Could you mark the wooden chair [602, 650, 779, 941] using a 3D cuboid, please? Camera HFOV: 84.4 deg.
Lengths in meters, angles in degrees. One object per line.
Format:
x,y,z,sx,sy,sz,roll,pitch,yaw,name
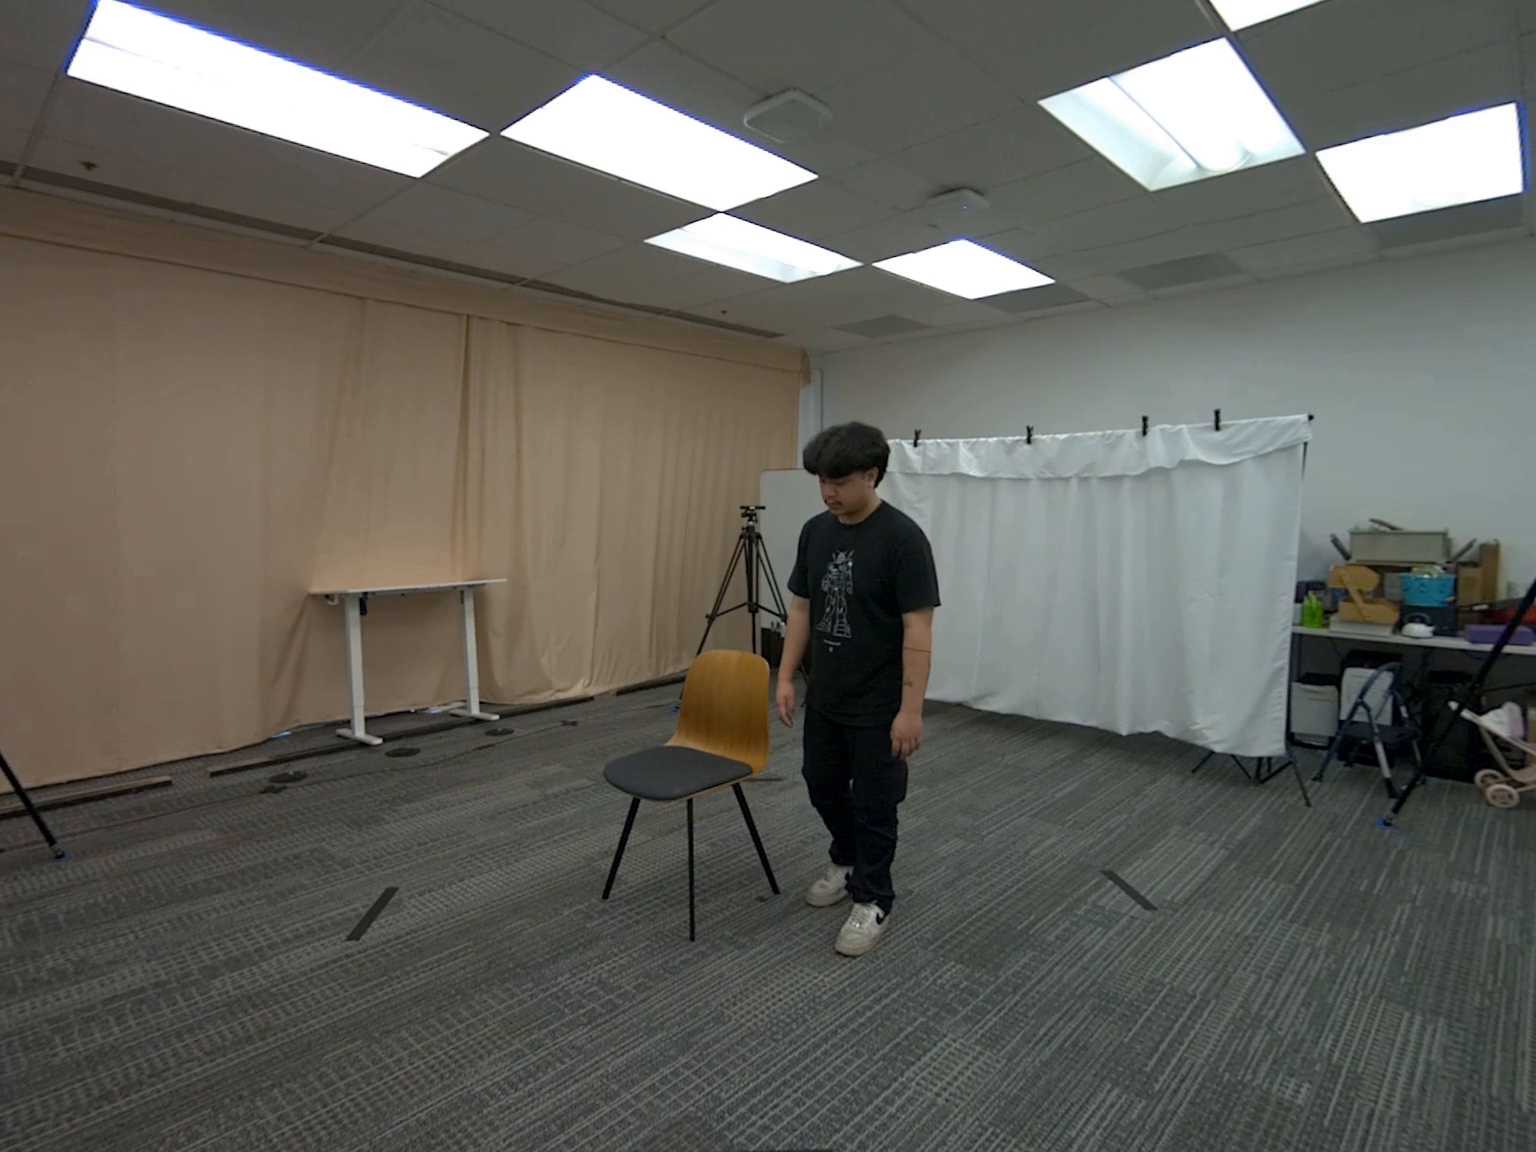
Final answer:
-0.276,0.719,2.973,0.494,0.877,0.506,4,0,41,wooden chair
